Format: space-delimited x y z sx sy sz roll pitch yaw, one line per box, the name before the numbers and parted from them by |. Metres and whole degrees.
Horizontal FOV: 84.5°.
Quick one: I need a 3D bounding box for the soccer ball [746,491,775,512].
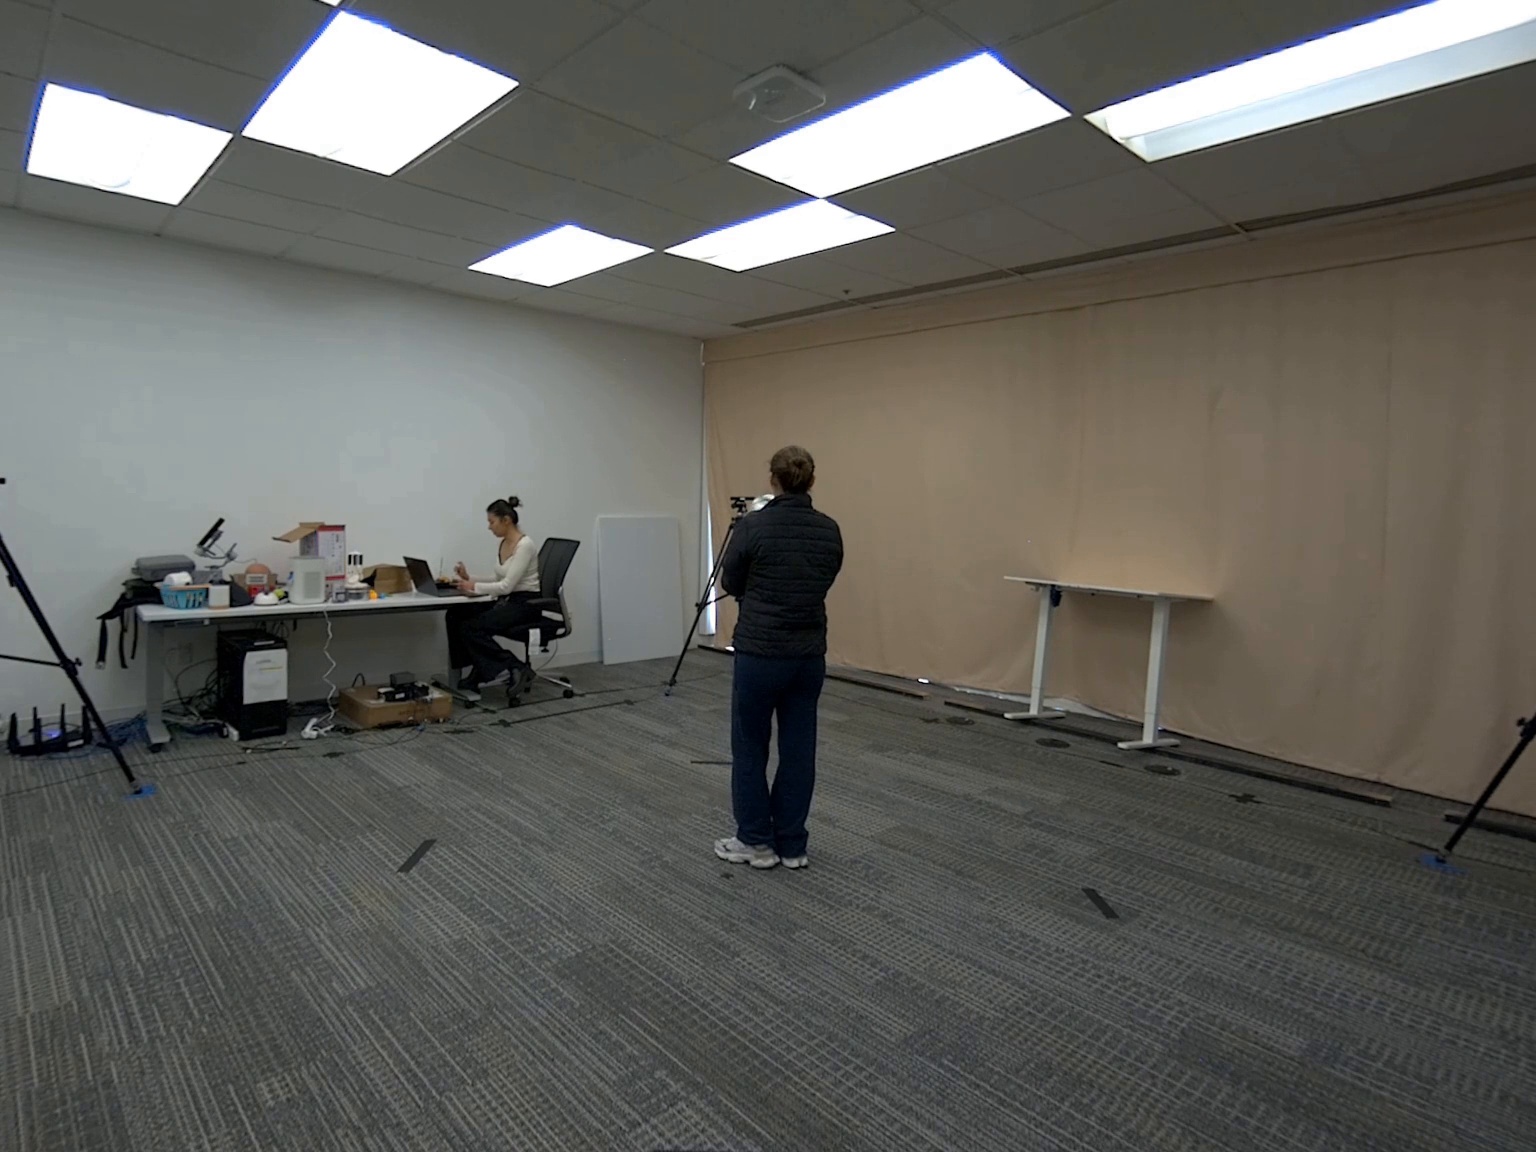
soccer ball | 0.005 -0.246 3.479 0.187 0.187 0.188 1 4 -1
